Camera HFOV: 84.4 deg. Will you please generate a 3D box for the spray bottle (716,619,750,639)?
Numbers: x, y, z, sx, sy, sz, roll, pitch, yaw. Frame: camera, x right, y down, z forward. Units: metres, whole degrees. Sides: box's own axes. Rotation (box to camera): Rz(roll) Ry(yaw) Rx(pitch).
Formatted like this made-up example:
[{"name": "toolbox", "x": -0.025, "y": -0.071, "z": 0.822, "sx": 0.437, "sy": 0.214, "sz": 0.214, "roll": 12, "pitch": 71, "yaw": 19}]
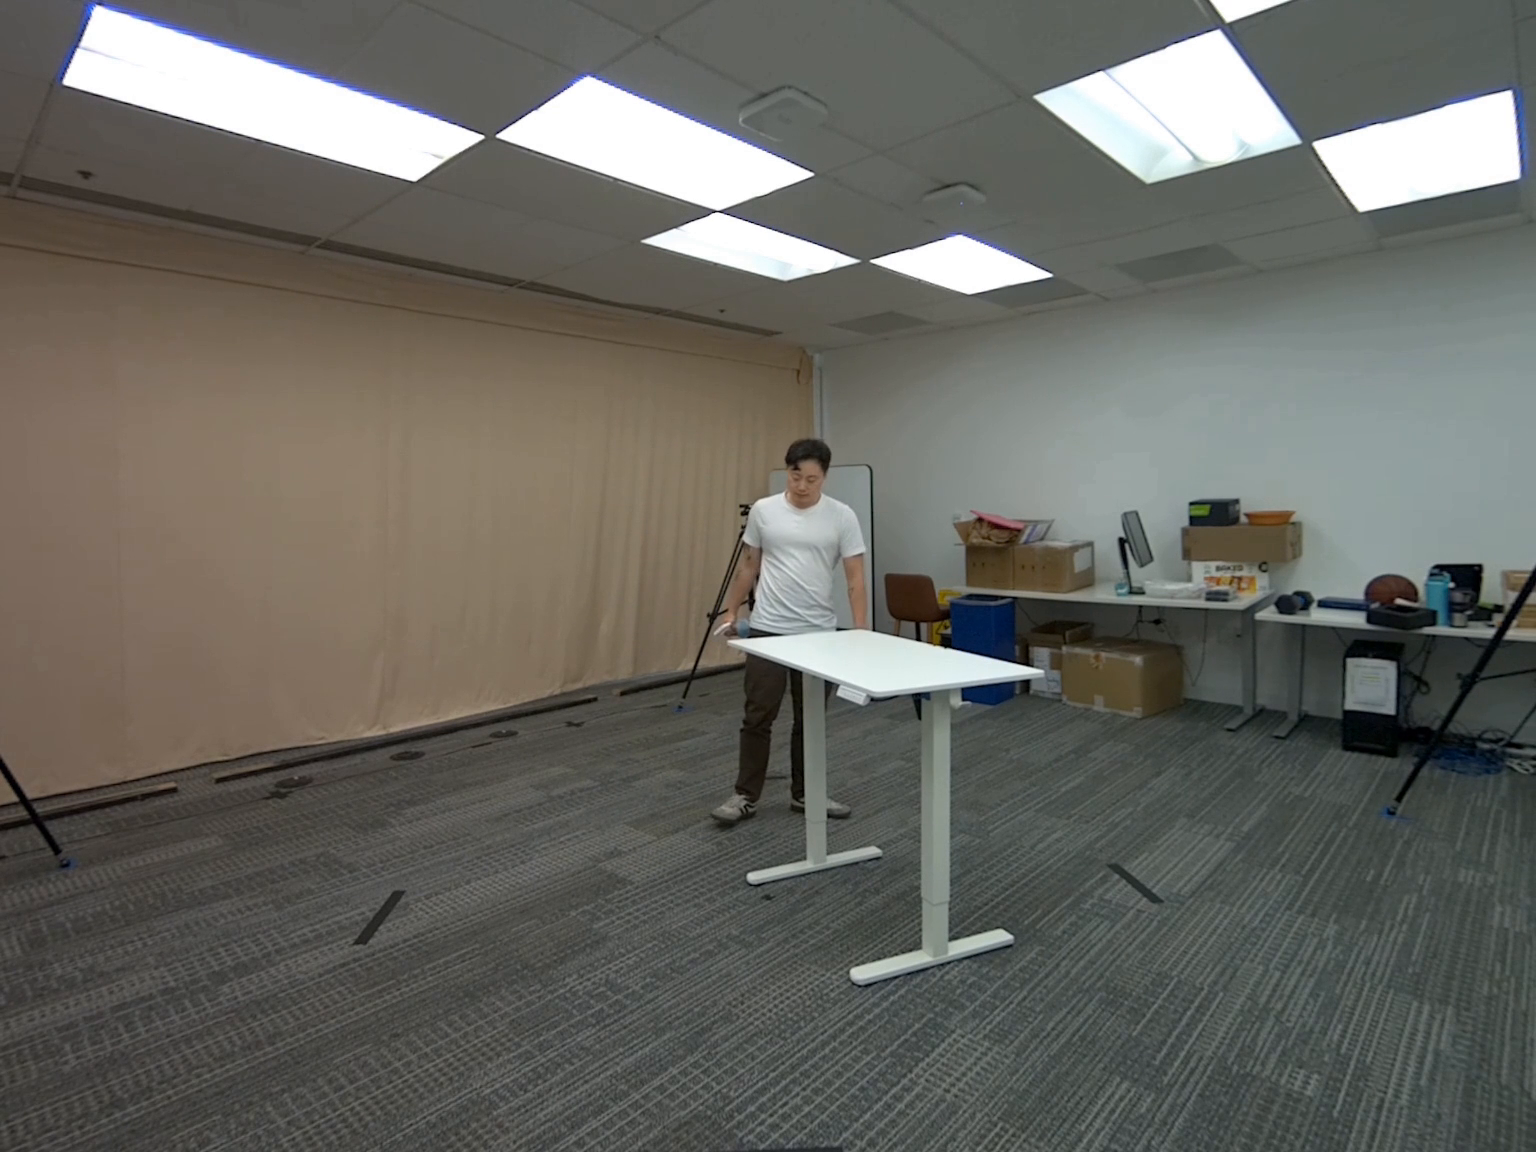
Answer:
[{"name": "spray bottle", "x": -0.142, "y": 0.249, "z": 3.951, "sx": 0.092, "sy": 0.087, "sz": 0.288, "roll": -14, "pitch": -9, "yaw": 41}]
